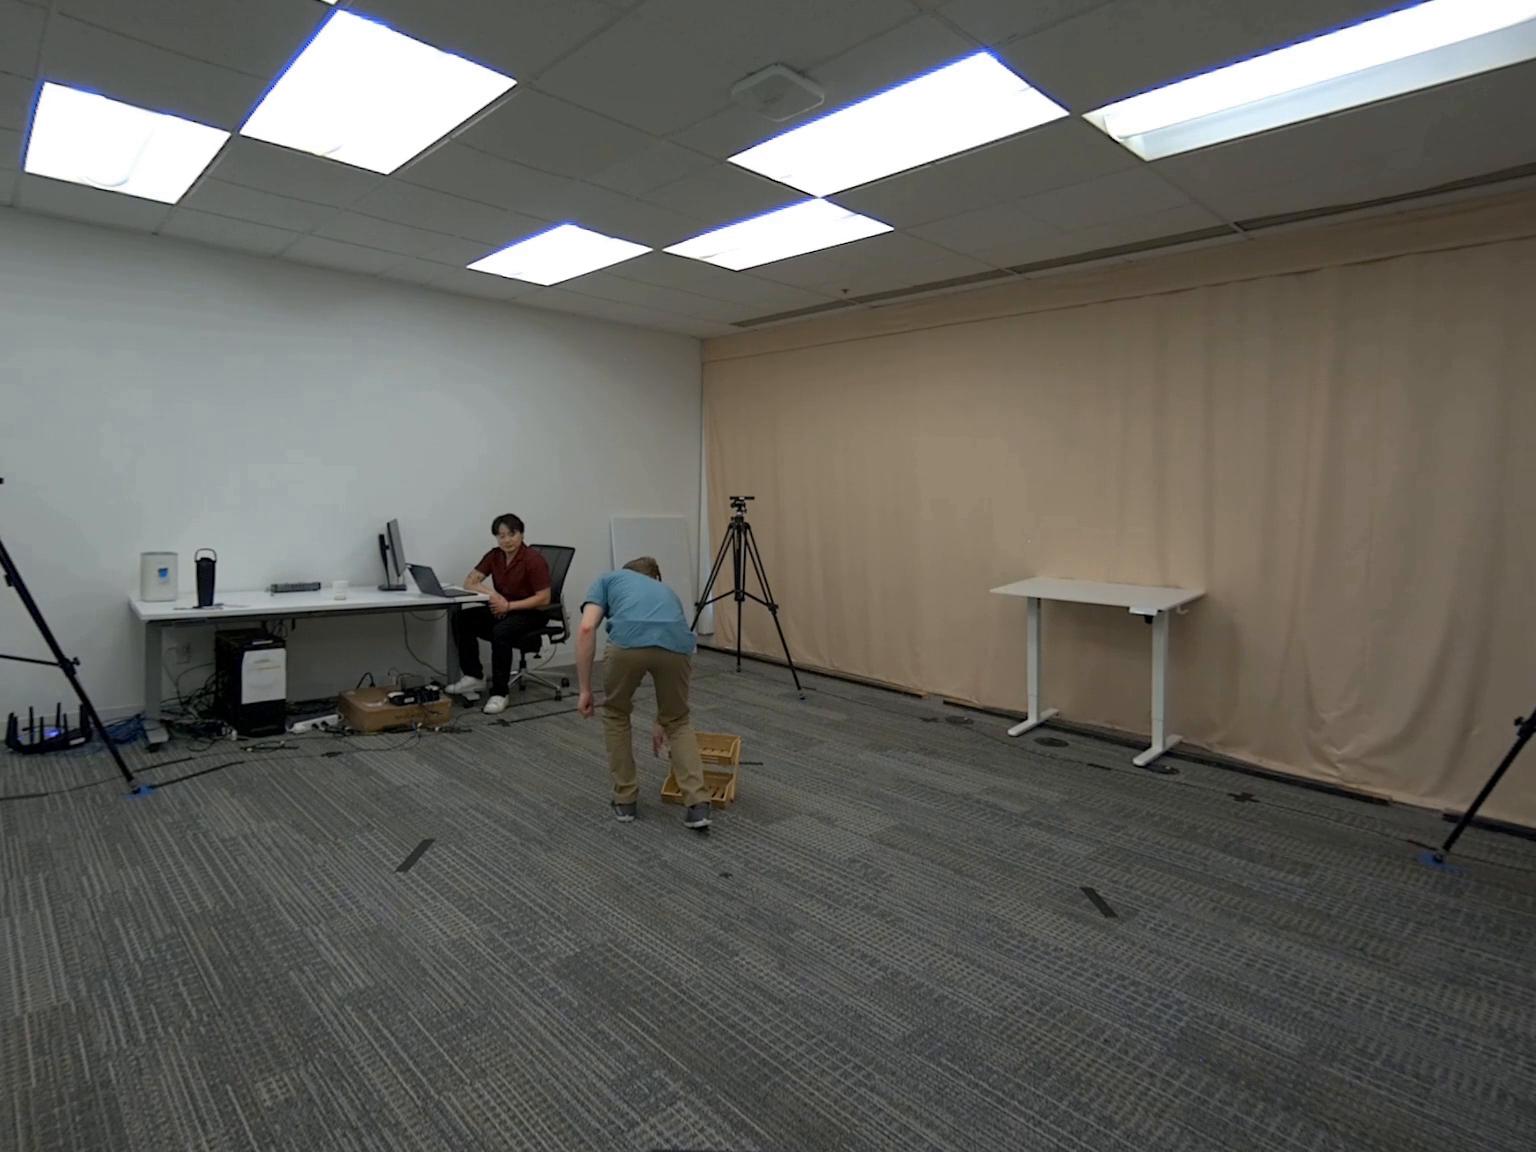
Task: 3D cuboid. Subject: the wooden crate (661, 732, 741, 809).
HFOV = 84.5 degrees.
[{"bbox_3d":[-0.316,0.892,3.920,0.328,0.273,0.299,3,3,12],"label":"wooden crate"}]
